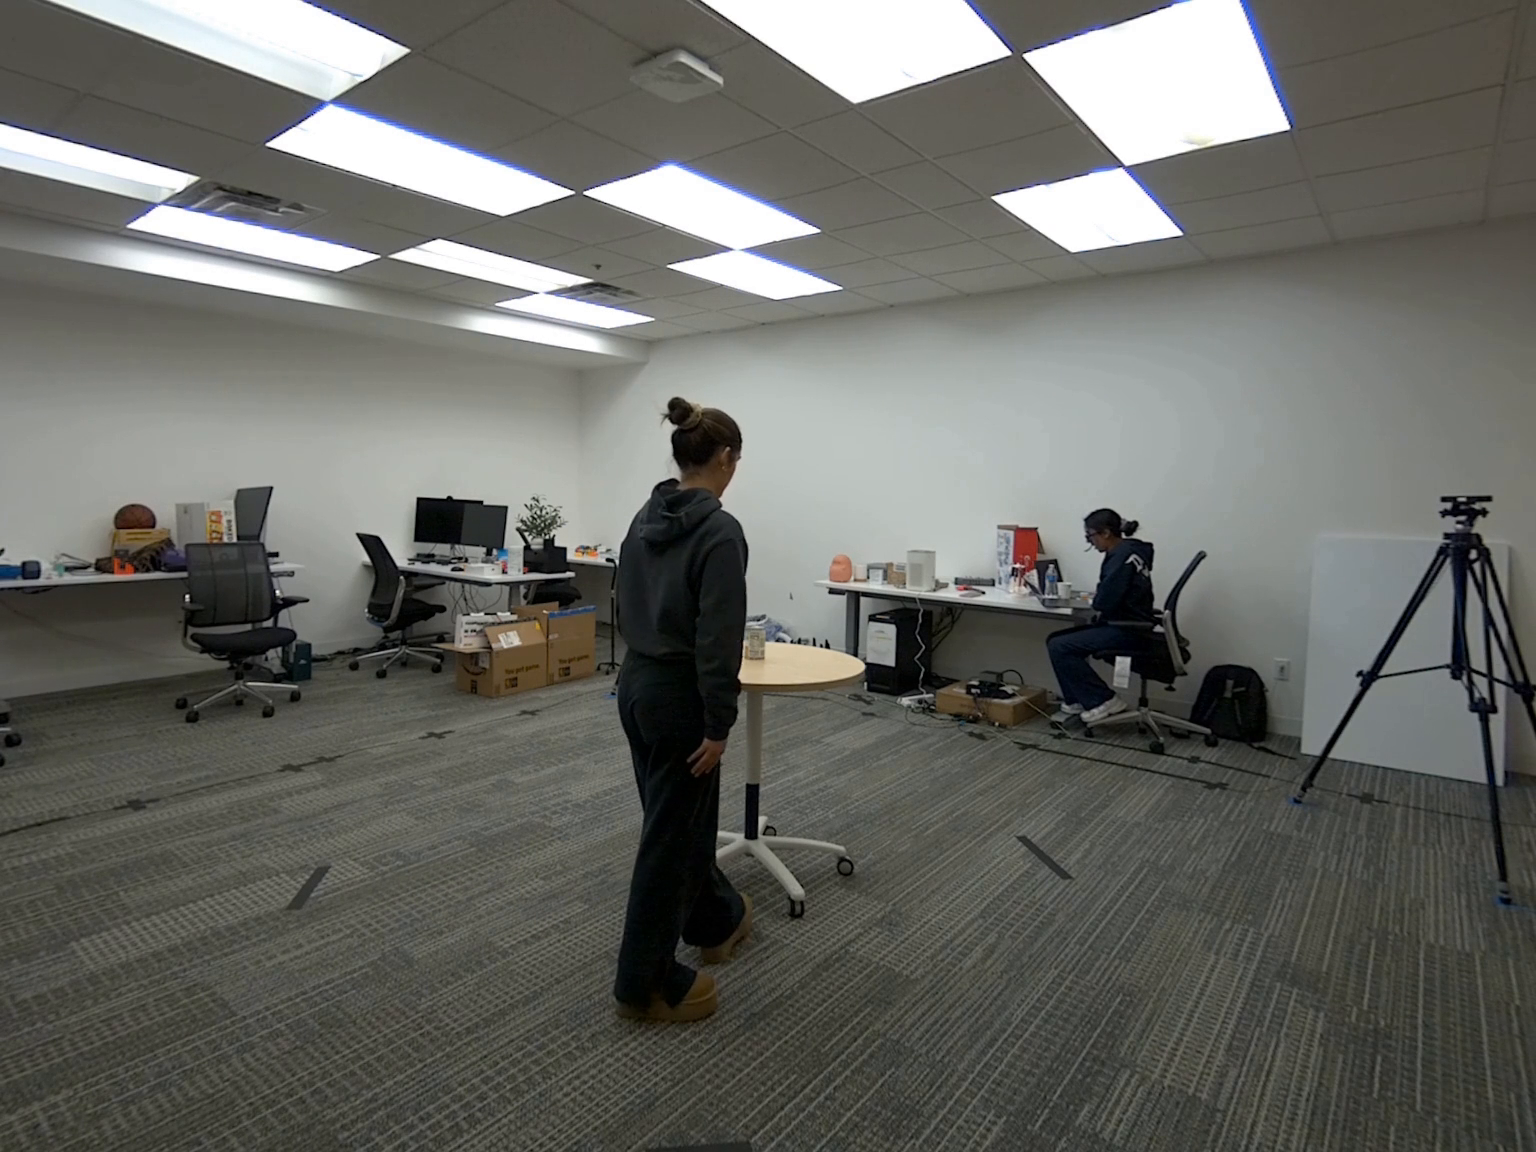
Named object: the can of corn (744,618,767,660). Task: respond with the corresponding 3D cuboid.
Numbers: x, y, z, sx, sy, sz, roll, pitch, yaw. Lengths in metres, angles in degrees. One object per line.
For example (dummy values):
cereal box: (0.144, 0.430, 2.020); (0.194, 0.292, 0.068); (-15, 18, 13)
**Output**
can of corn: (-0.048, 0.234, 3.049); (0.074, 0.110, 0.074); (-1, 4, -2)
